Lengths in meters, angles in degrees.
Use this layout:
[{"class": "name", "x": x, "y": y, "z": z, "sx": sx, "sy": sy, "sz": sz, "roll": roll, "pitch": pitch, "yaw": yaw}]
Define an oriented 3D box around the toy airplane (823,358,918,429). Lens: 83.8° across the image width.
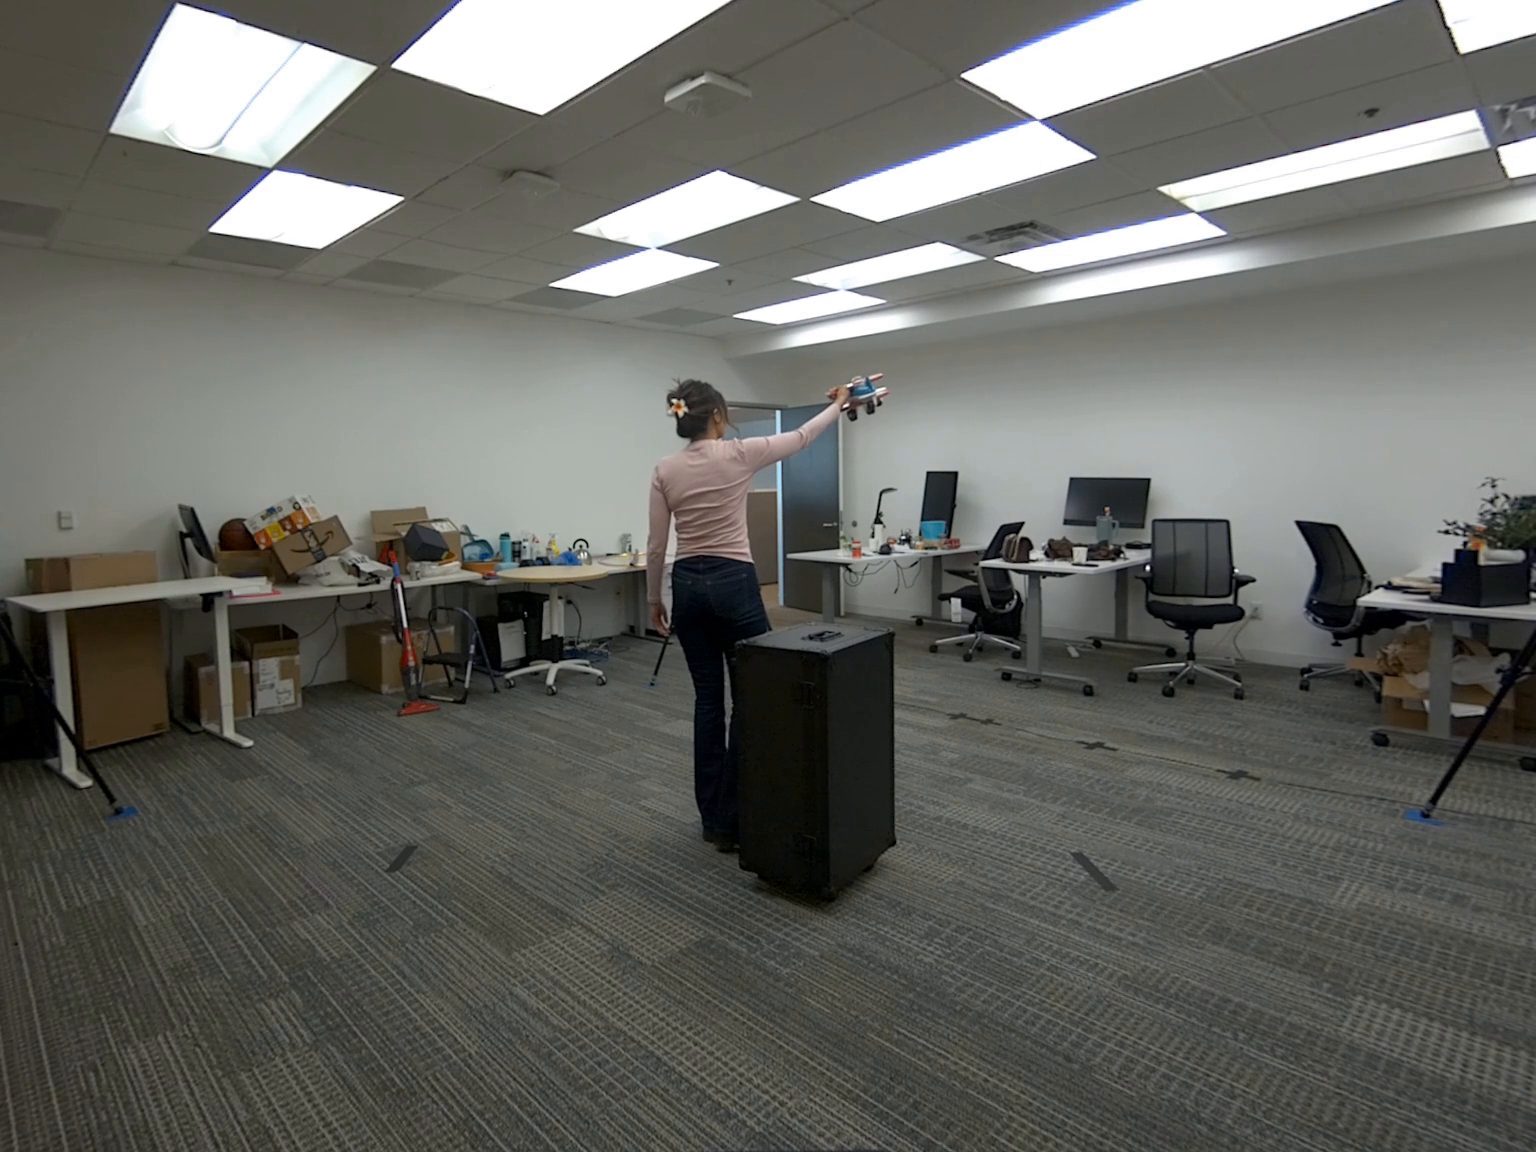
[{"class": "toy airplane", "x": 0.429, "y": -0.773, "z": 3.614, "sx": 0.247, "sy": 0.157, "sz": 0.263, "roll": -24, "pitch": 0, "yaw": -40}]
